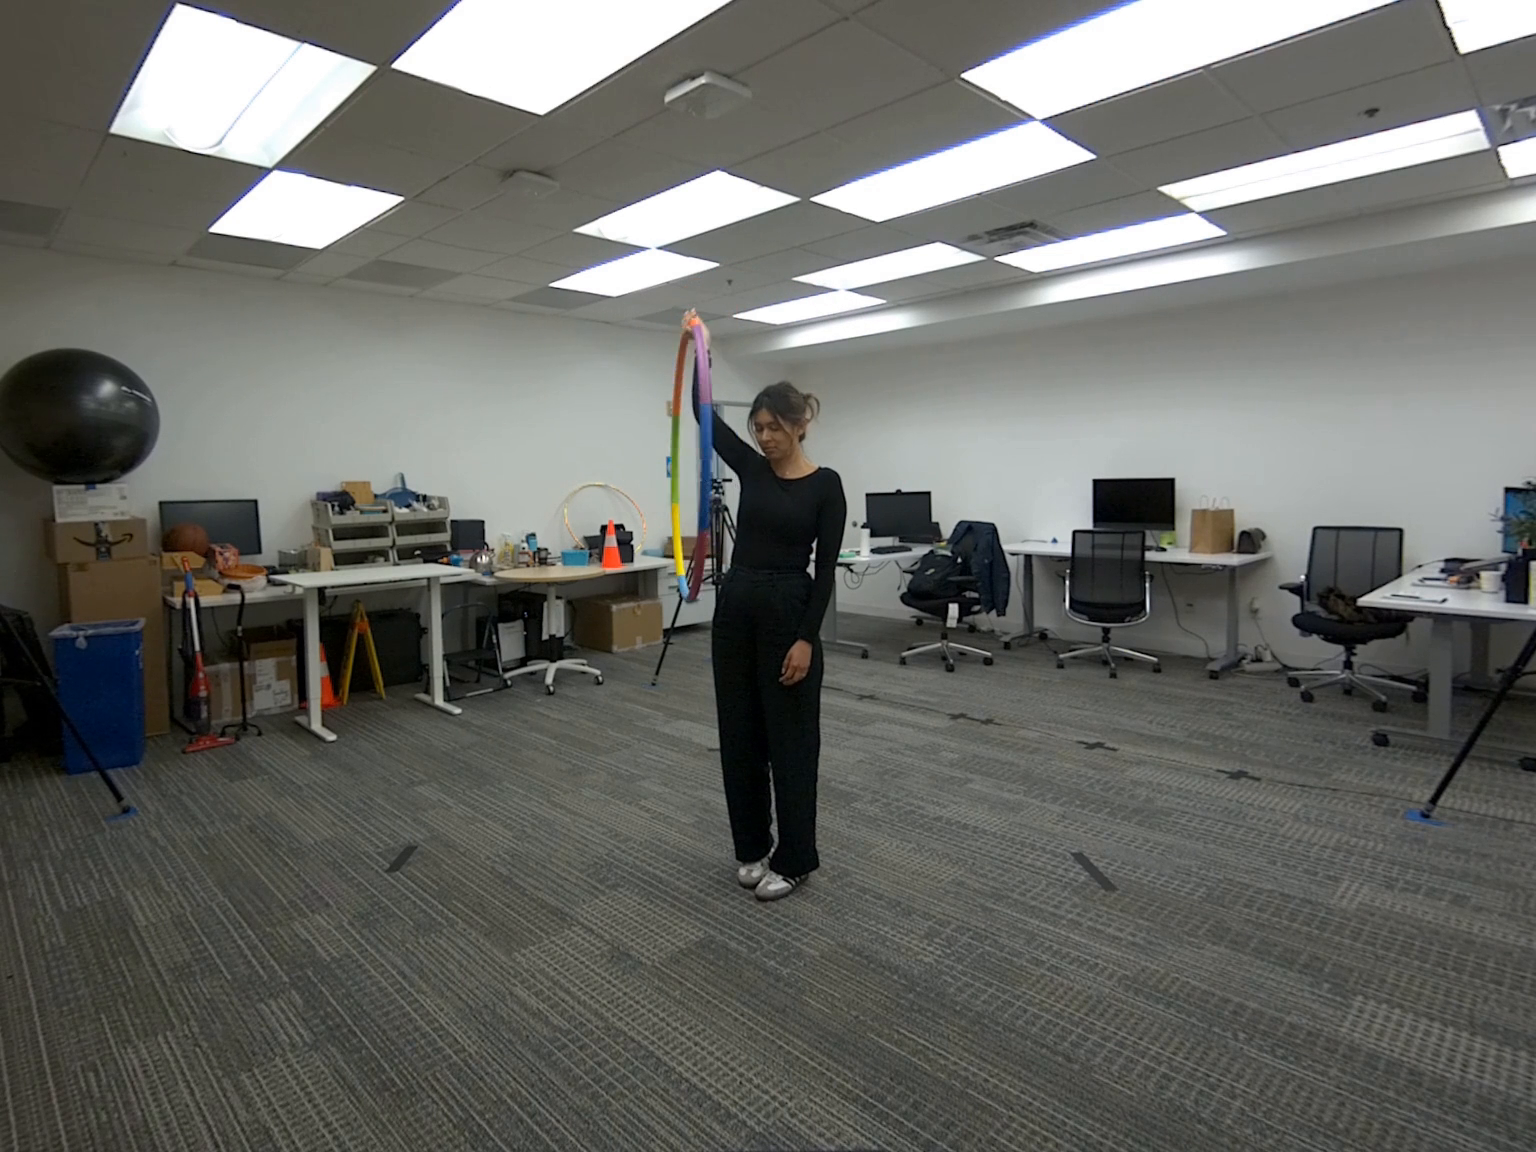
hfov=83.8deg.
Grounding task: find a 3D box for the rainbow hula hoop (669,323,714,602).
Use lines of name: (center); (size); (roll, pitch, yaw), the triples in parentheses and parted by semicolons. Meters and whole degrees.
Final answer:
rainbow hula hoop: (-0.278, -0.397, 3.026); (0.051, 0.982, 0.999); (1, 4, -12)
